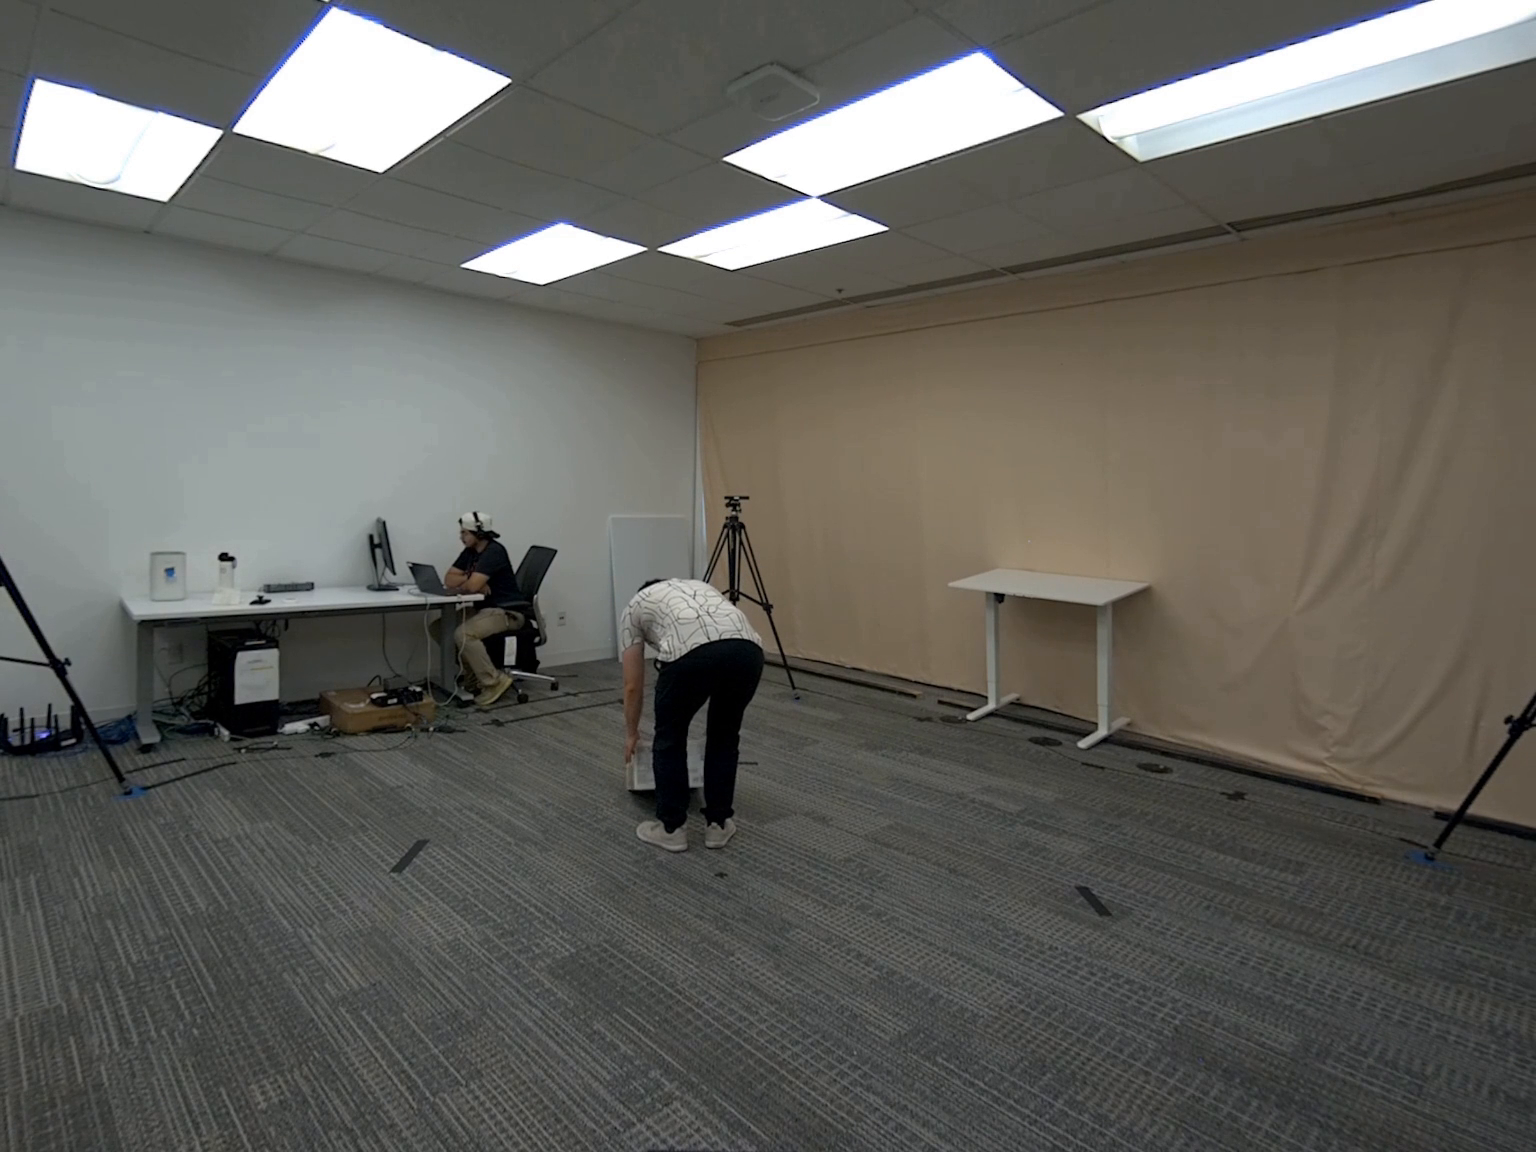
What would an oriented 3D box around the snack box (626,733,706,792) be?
[{"bbox_3d":[-0.473,0.875,3.880,0.337,0.208,0.405,0,-13,-14],"label":"snack box"}]
